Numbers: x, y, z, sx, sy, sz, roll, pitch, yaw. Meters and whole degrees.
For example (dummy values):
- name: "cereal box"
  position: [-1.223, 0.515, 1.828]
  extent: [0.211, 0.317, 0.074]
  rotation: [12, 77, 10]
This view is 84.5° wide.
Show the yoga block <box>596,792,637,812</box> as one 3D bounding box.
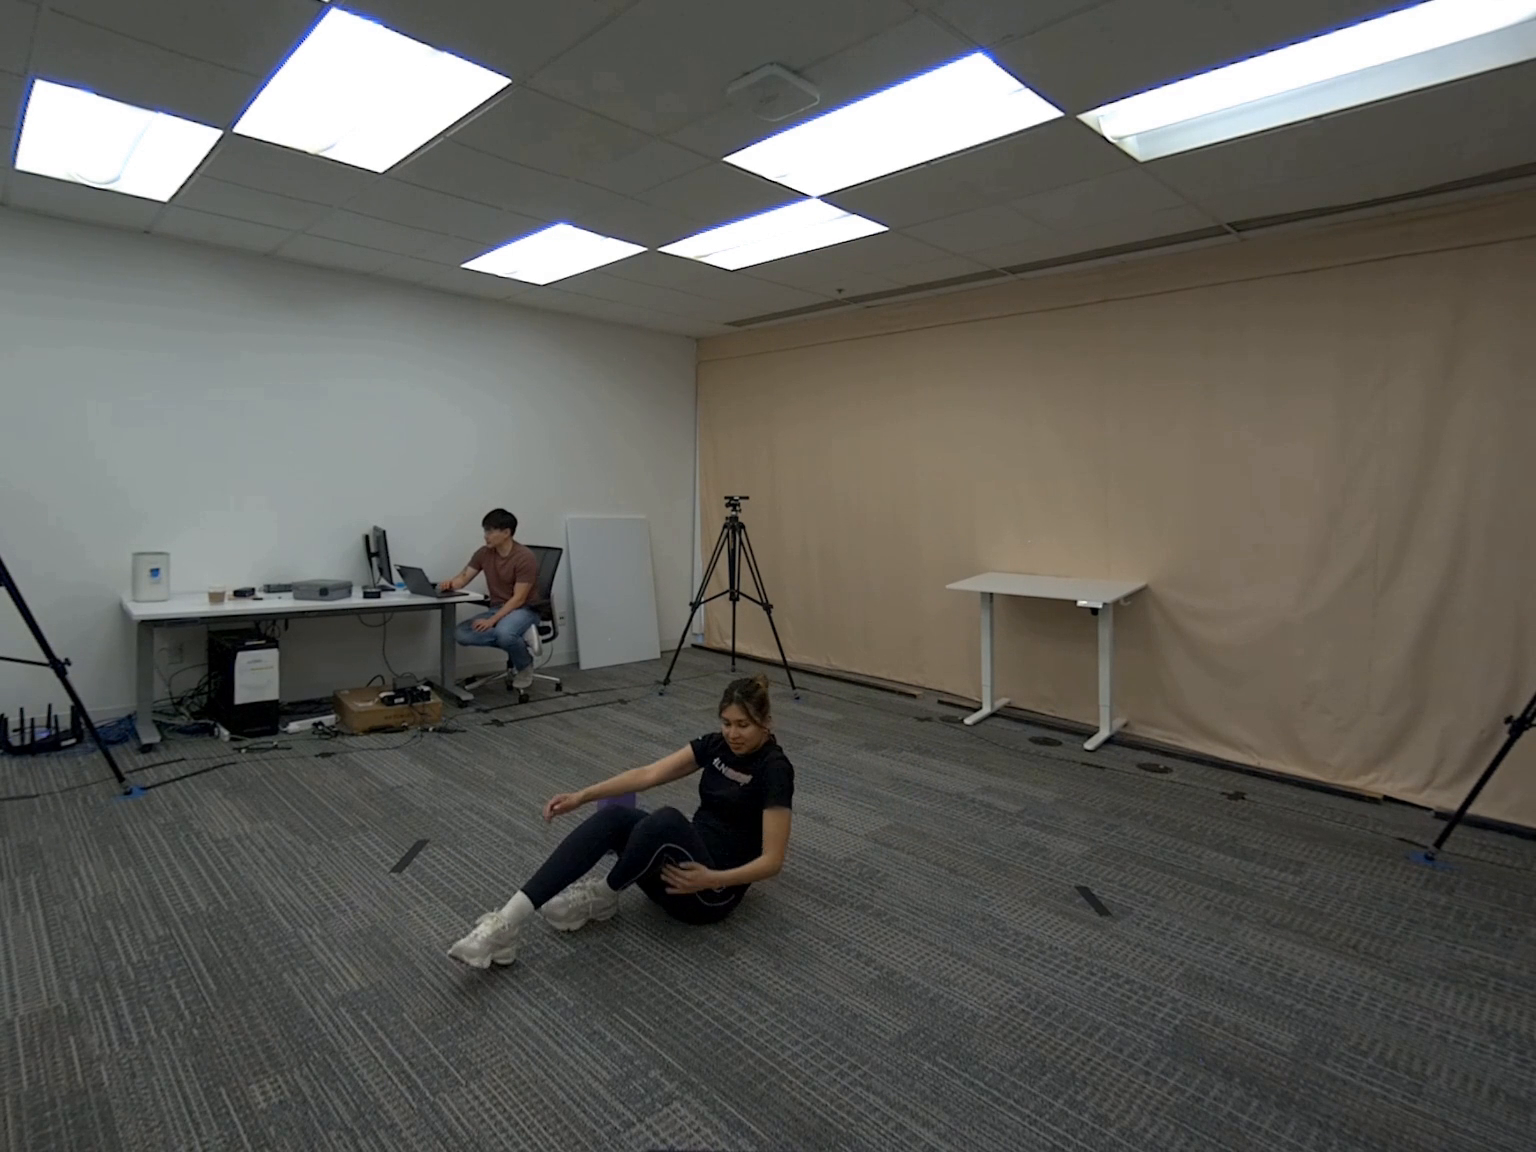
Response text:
- name: "yoga block"
  position: [-0.603, 0.964, 3.314]
  extent: [0.078, 0.229, 0.146]
  rotation: [4, 4, 38]
